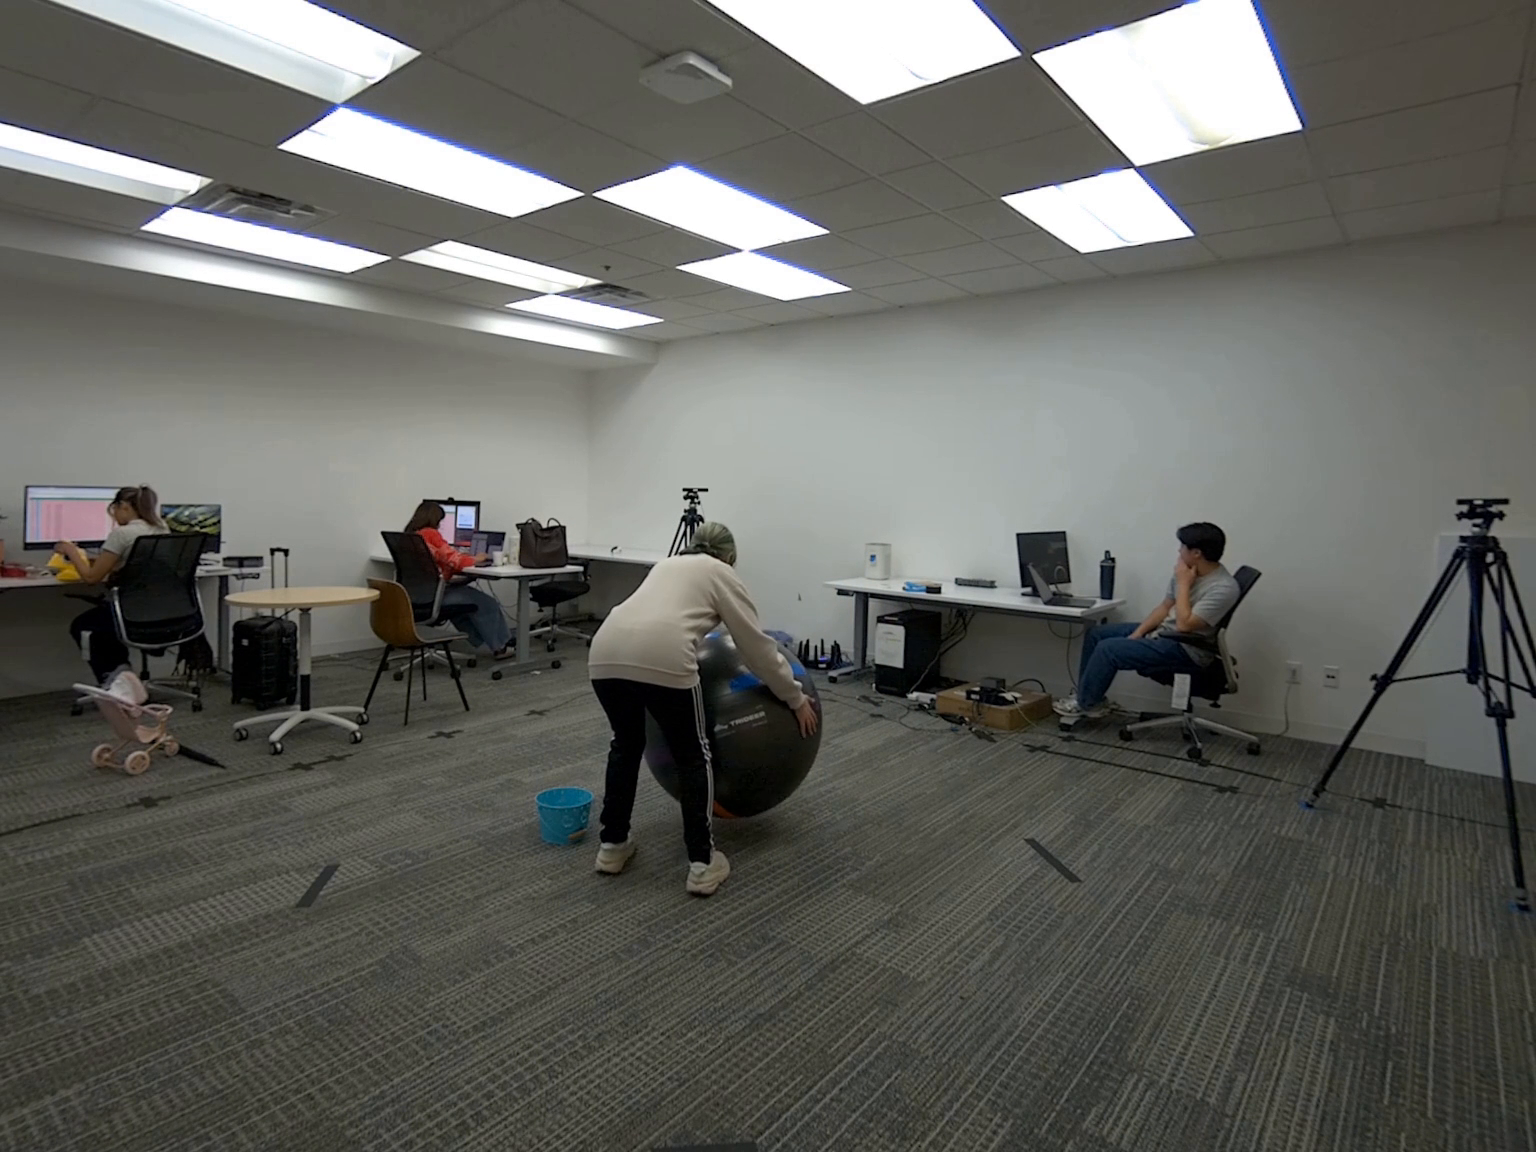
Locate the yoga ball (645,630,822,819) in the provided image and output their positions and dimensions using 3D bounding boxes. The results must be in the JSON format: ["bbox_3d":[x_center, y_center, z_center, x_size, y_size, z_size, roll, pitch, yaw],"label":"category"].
[{"bbox_3d":[-0.164,0.591,3.494,0.757,0.755,0.762,1,4,-2],"label":"yoga ball"}]
